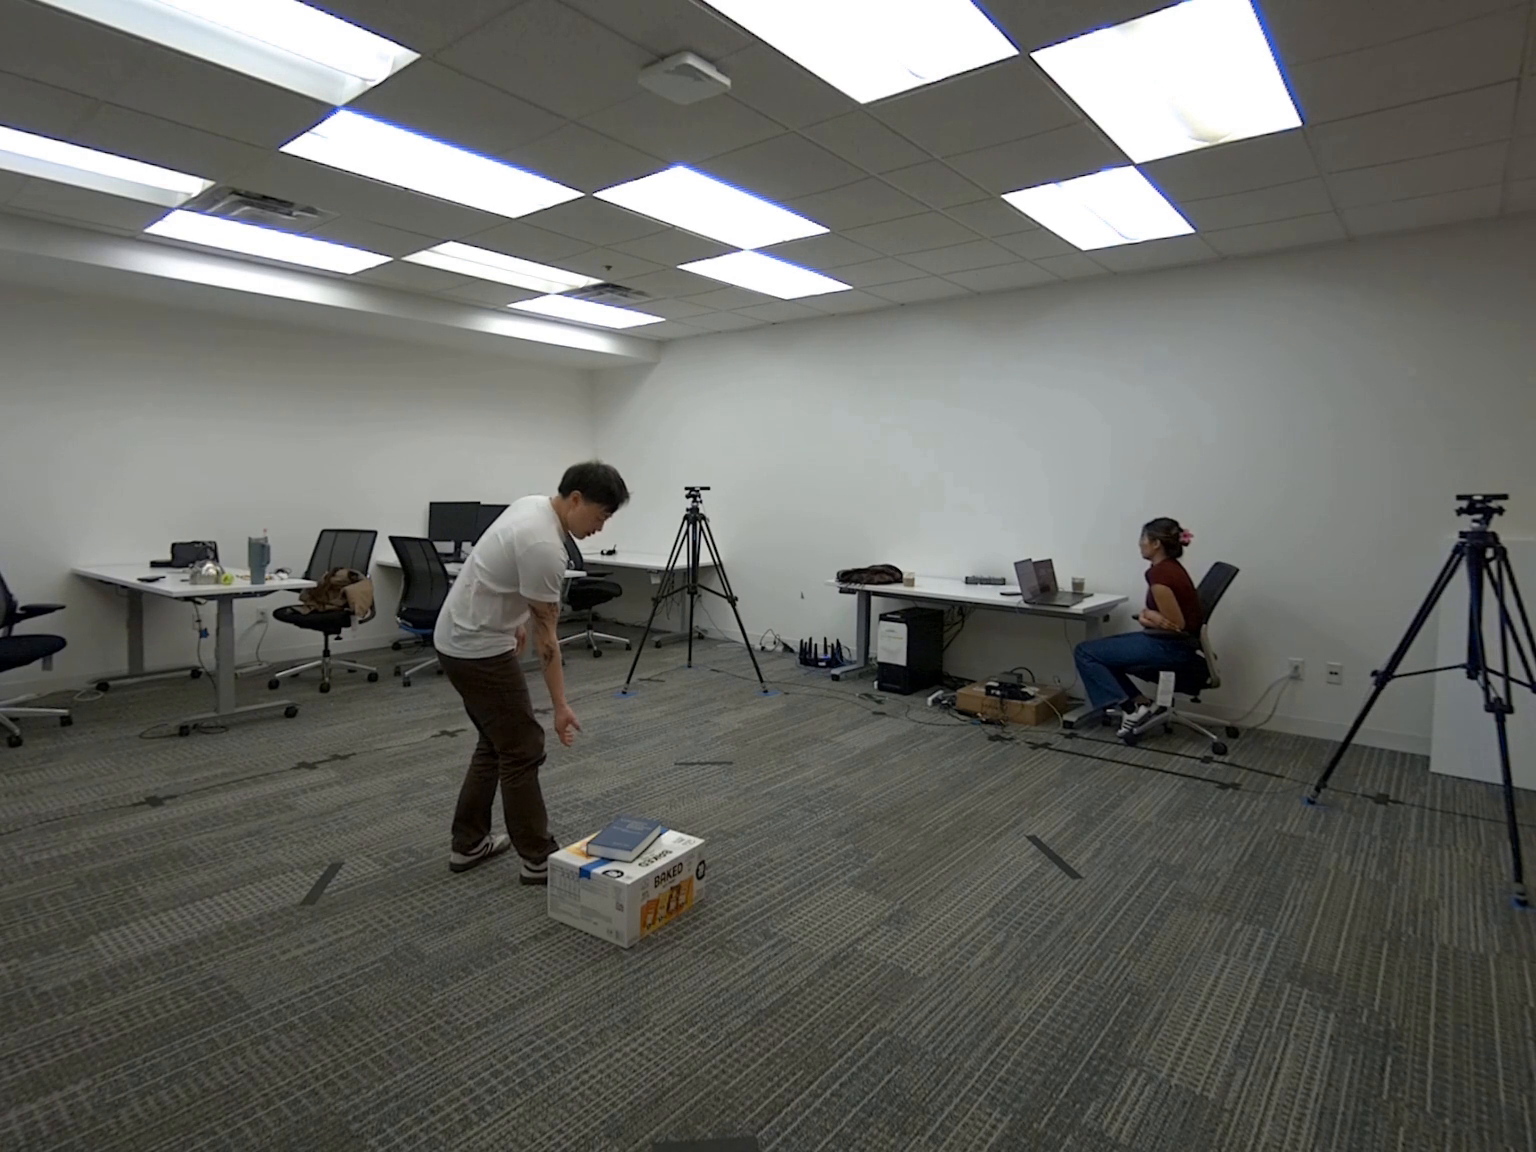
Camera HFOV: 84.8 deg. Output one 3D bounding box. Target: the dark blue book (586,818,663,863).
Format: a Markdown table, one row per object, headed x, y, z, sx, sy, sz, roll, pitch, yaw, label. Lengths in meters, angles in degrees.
| x | y | z | sx | sy | sz | roll | pitch | yaw | label |
| --- | --- | --- | --- | --- | --- | --- | --- | --- | --- |
| -0.490 | 0.874 | 2.826 | 0.167 | 0.045 | 0.241 | 3 | 7 | 17 | dark blue book |
